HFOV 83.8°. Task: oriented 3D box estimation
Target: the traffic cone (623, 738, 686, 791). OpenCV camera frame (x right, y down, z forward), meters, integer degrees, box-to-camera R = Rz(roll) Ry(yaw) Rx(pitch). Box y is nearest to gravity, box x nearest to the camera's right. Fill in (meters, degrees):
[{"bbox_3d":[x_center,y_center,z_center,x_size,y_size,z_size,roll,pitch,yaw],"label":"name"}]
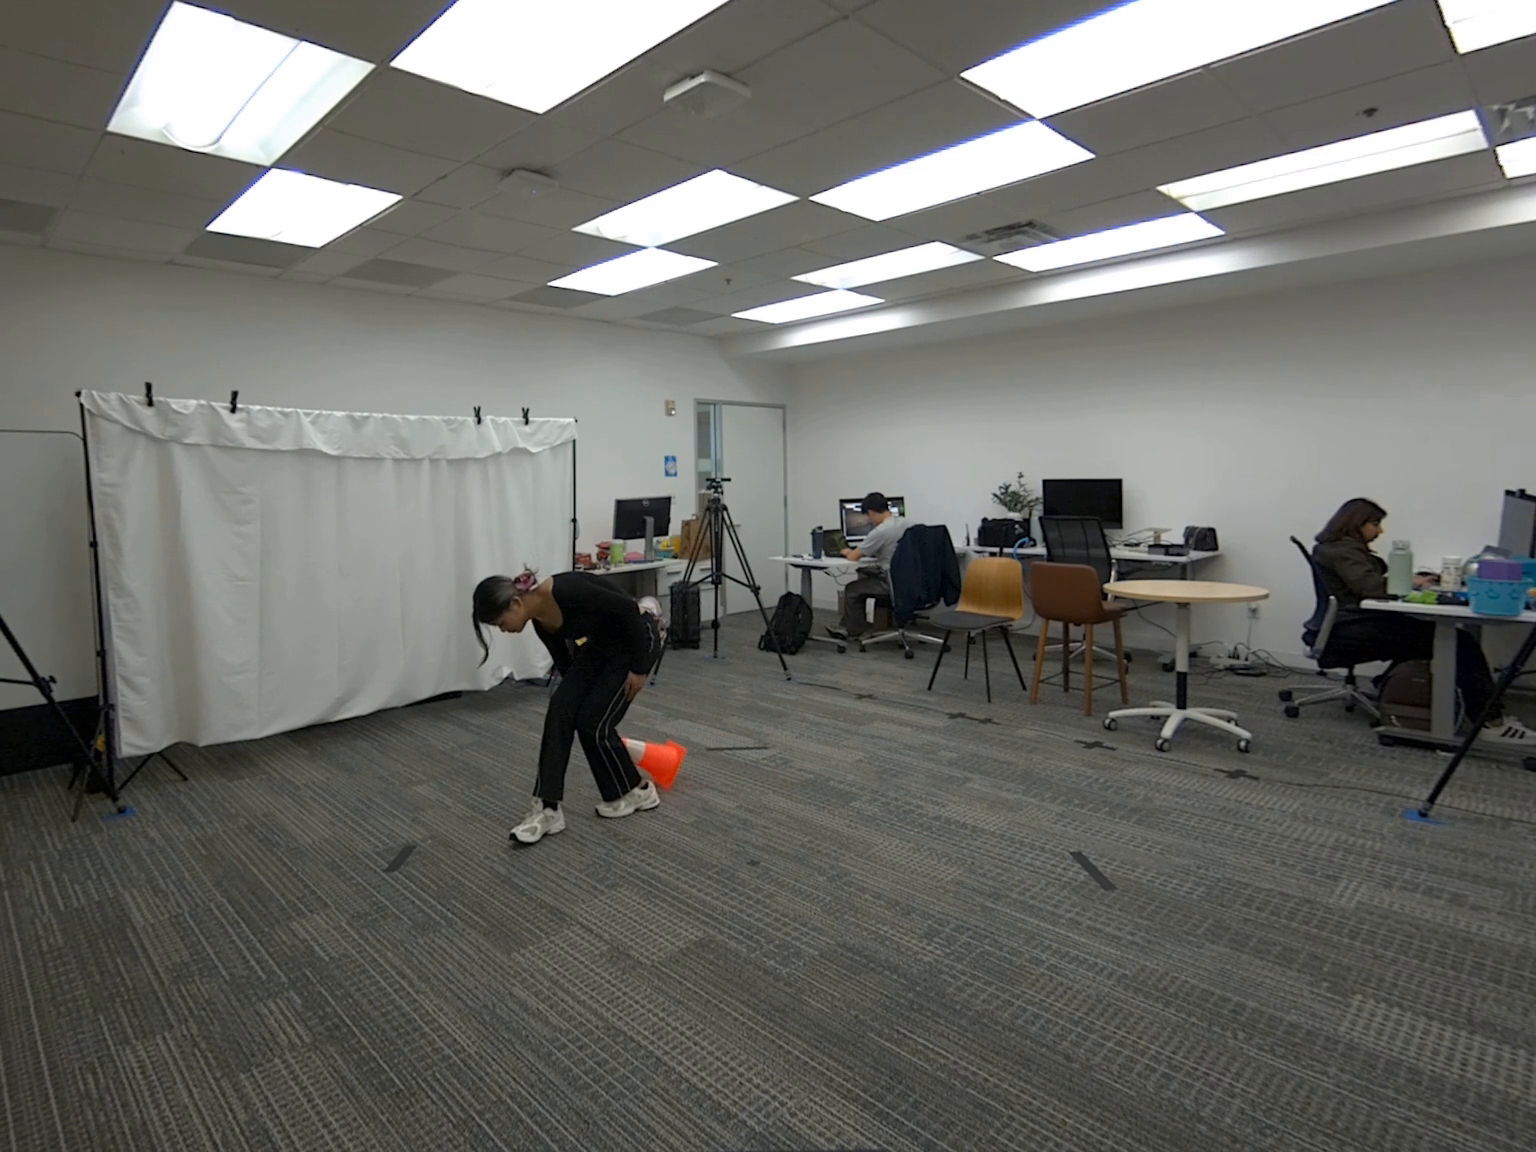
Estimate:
[{"bbox_3d":[-0.599,0.789,3.868,0.372,0.204,0.210,29,-8,-26],"label":"traffic cone"}]
